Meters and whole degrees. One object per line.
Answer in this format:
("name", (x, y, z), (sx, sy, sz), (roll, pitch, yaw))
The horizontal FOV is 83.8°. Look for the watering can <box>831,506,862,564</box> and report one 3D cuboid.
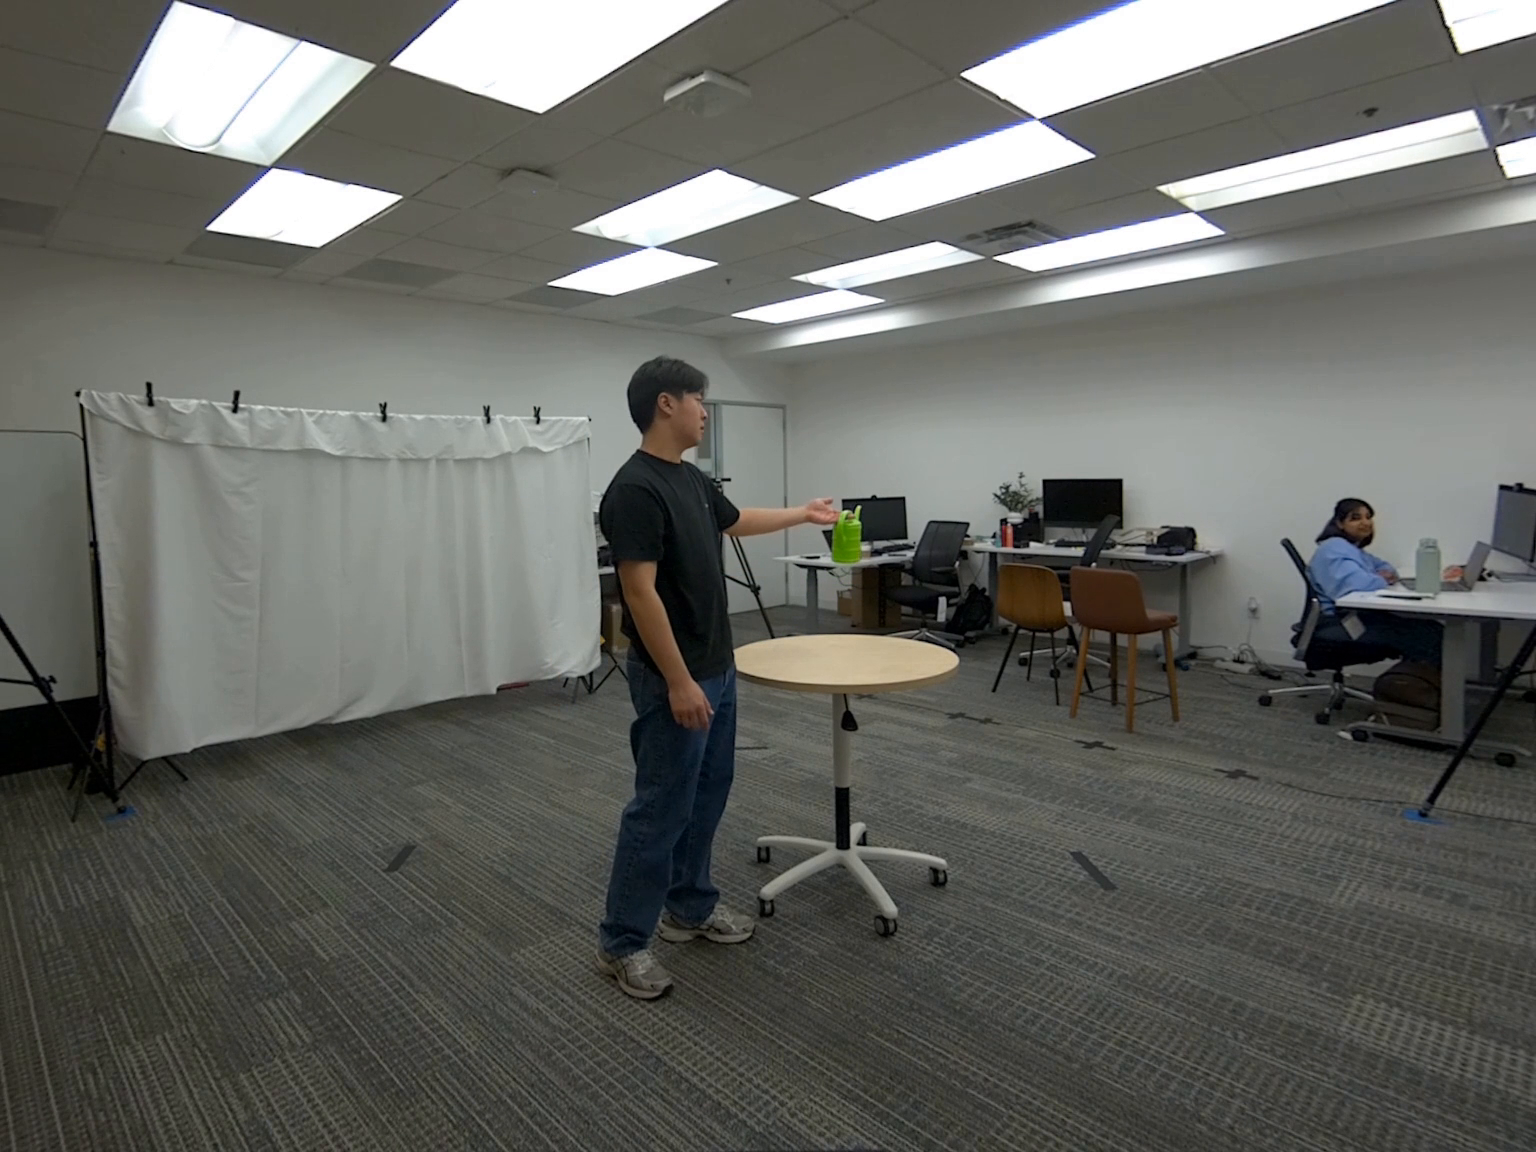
("watering can", (0.289, -0.141, 2.943), (0.100, 0.175, 0.273), (5, 10, 28))
